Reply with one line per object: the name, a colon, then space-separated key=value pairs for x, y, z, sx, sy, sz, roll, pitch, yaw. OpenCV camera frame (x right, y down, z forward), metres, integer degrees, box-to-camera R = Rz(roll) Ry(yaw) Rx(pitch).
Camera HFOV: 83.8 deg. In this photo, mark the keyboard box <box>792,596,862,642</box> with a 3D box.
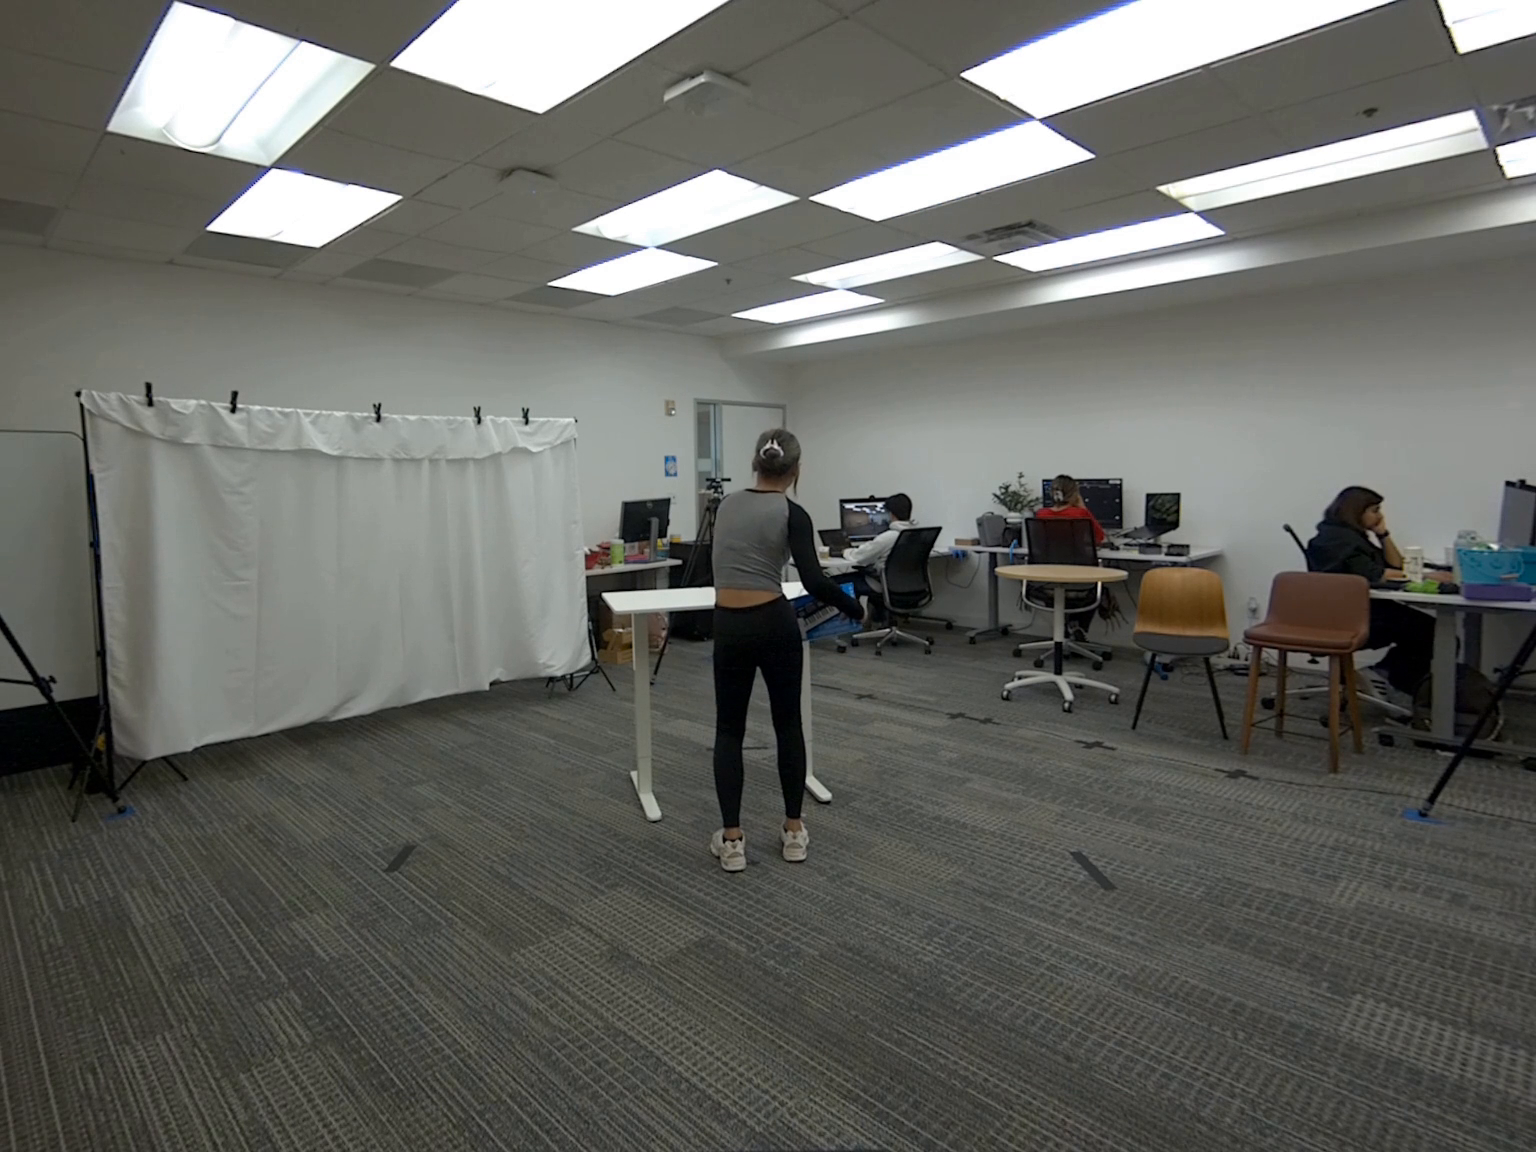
keyboard box: x=0.170 y=0.161 z=3.284 sx=0.057 sy=0.178 sz=0.444 roll=-3 pitch=-11 yaw=-40
